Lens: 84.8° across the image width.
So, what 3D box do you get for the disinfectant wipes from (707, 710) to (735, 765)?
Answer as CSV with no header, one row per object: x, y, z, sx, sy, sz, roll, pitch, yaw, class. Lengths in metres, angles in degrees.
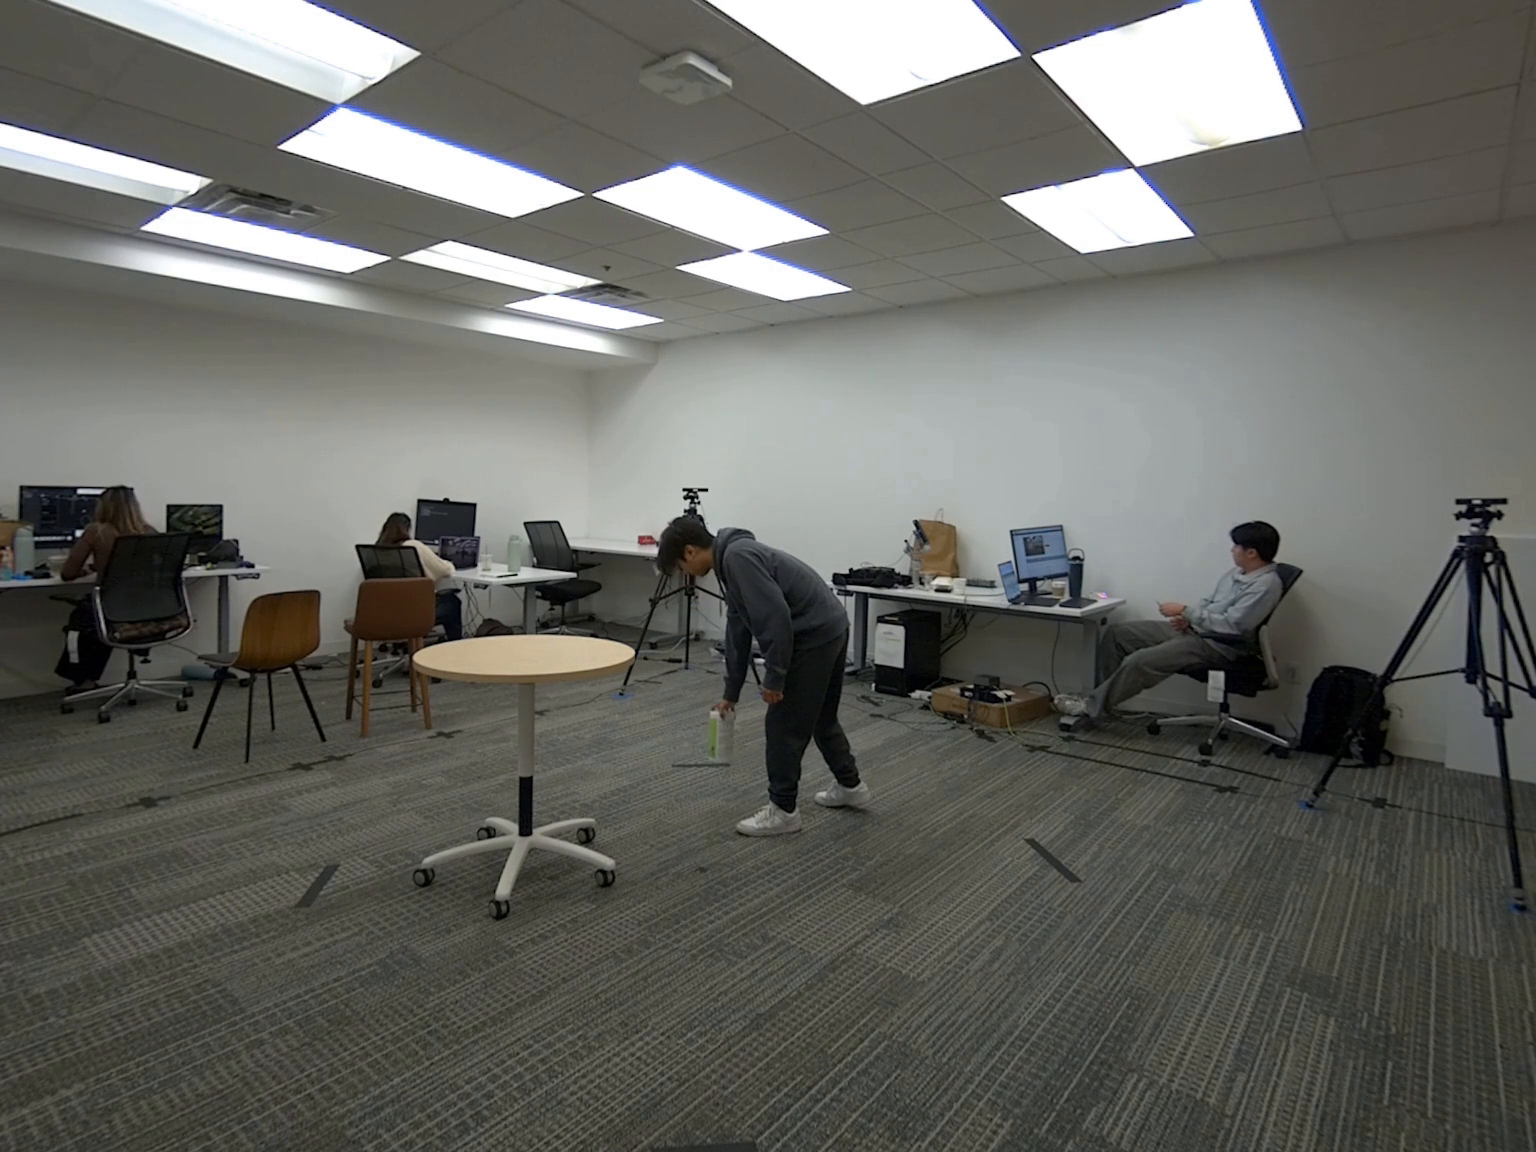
-0.213,0.699,3.725,0.118,0.218,0.117,0,-3,-2,disinfectant wipes
